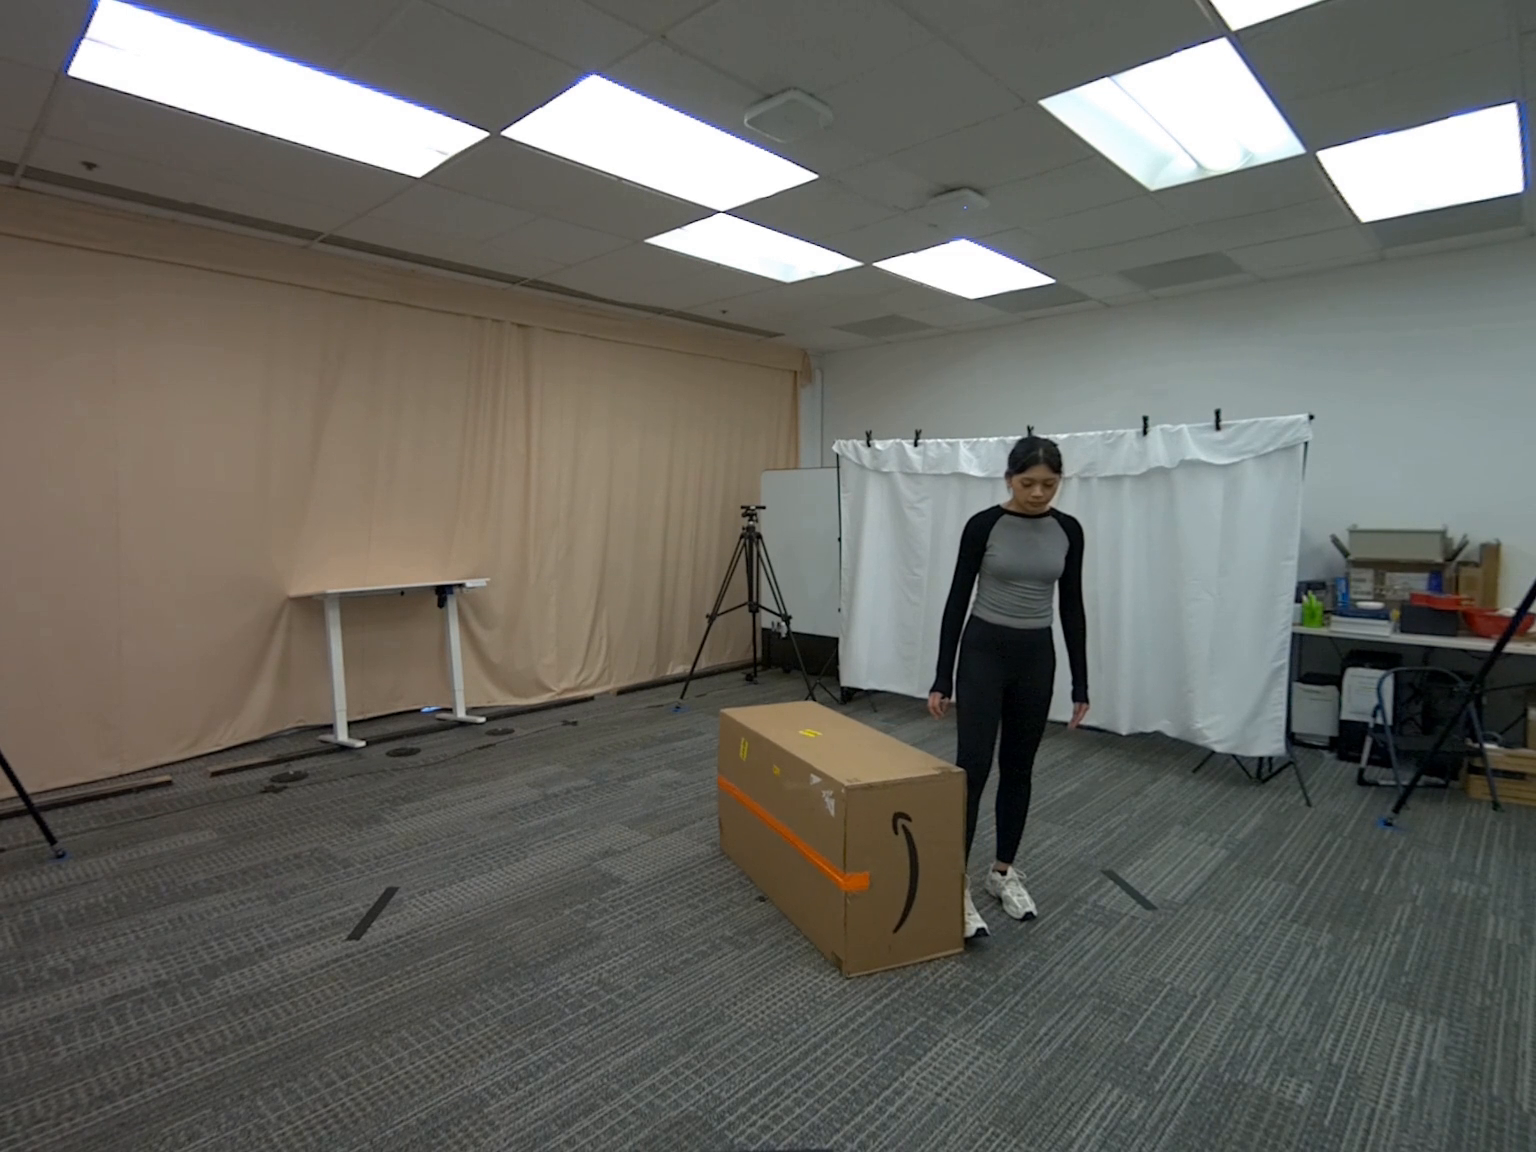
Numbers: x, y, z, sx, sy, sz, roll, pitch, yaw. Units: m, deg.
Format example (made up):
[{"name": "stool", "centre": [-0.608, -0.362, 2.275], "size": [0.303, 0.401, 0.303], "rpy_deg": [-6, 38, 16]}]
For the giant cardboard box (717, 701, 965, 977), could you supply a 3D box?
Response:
[{"name": "giant cardboard box", "centre": [0.205, 0.851, 3.005], "size": [0.417, 0.576, 1.051], "rpy_deg": [-1, 4, -23]}]
